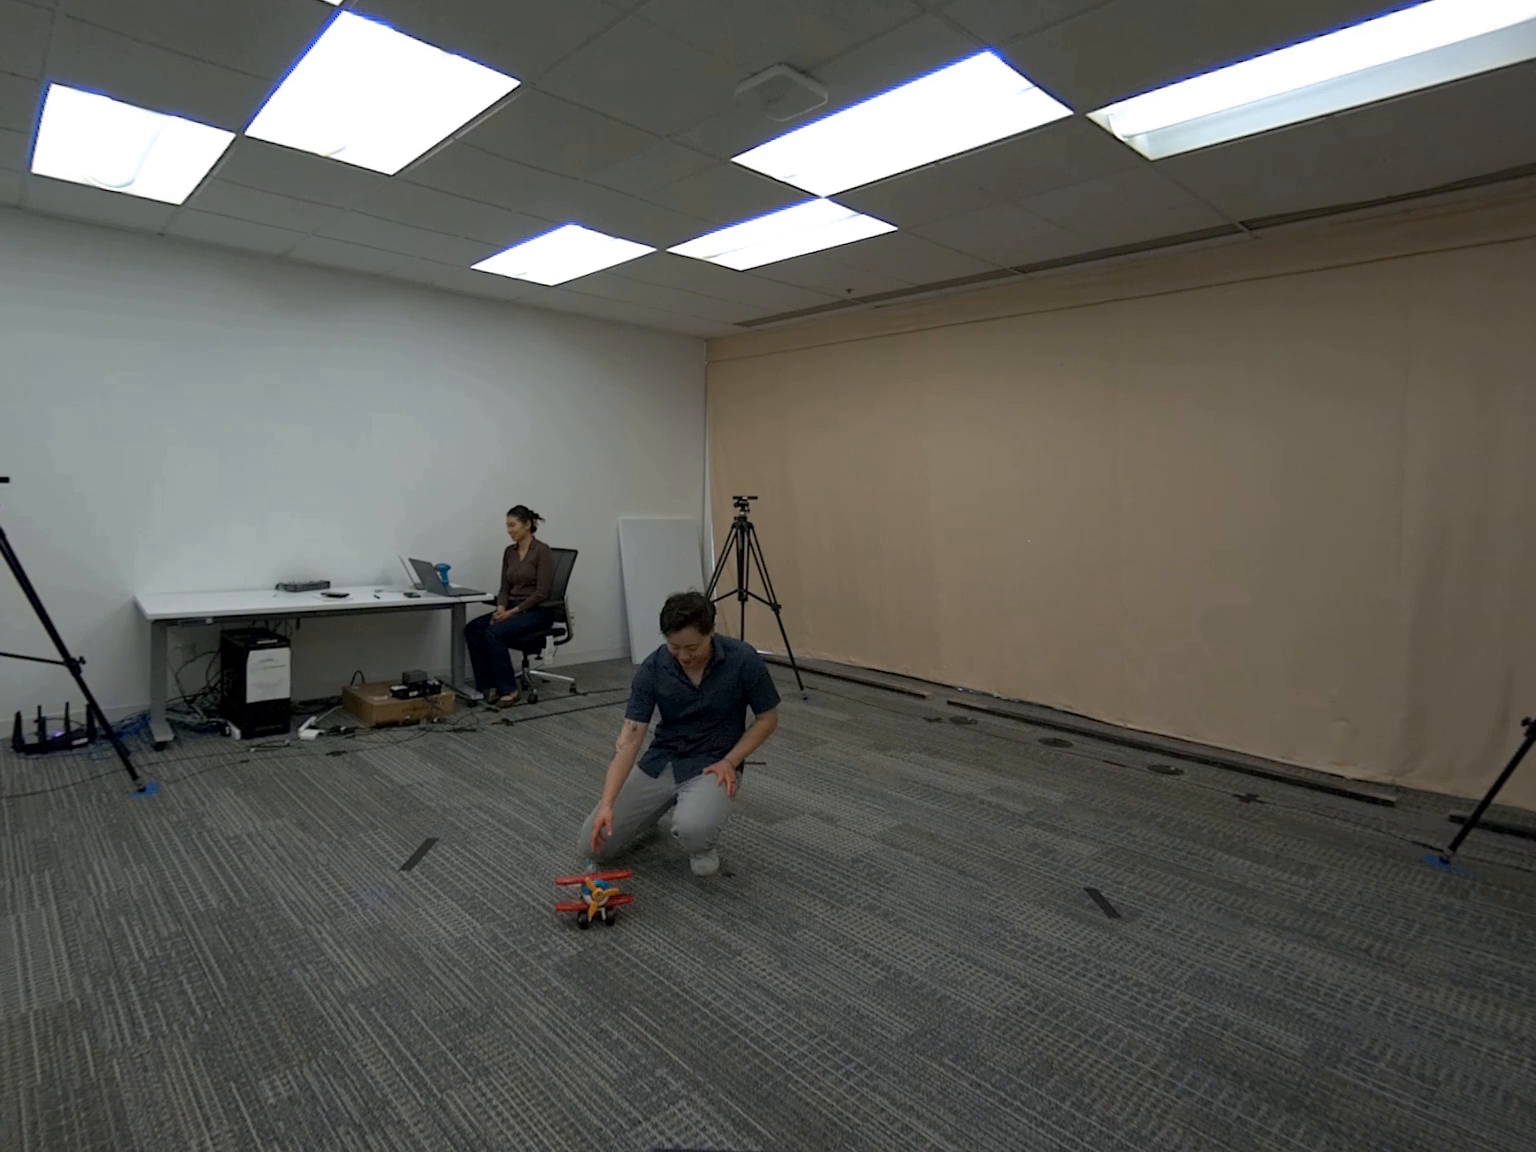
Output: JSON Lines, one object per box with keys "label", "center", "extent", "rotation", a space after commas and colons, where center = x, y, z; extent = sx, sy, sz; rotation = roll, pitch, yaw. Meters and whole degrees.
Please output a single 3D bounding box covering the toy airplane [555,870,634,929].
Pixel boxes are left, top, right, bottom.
{"label": "toy airplane", "center": [-0.614, 1.051, 2.782], "extent": [0.266, 0.156, 0.245], "rotation": [9, 9, 42]}
